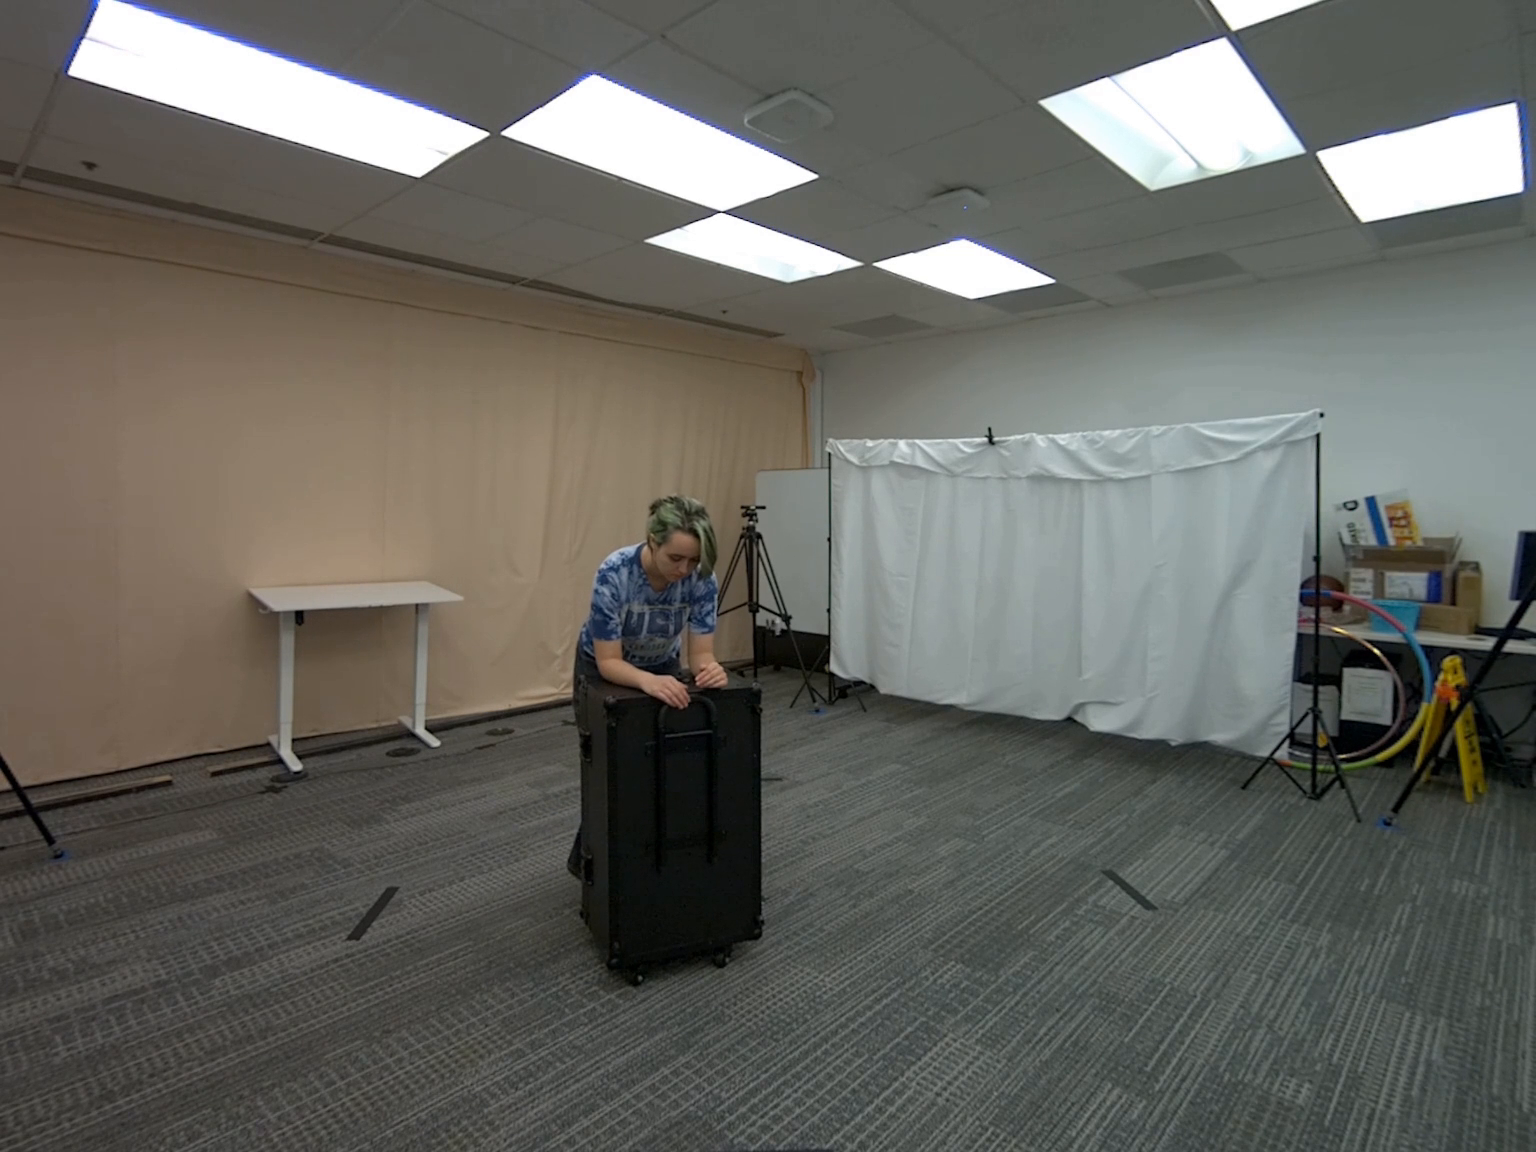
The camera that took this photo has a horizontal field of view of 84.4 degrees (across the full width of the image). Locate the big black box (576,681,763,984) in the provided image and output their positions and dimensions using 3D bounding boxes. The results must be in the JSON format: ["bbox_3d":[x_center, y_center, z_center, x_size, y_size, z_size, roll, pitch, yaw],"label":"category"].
[{"bbox_3d":[-0.301,0.689,2.604,0.510,0.860,0.405,-1,3,-22],"label":"big black box"}]
